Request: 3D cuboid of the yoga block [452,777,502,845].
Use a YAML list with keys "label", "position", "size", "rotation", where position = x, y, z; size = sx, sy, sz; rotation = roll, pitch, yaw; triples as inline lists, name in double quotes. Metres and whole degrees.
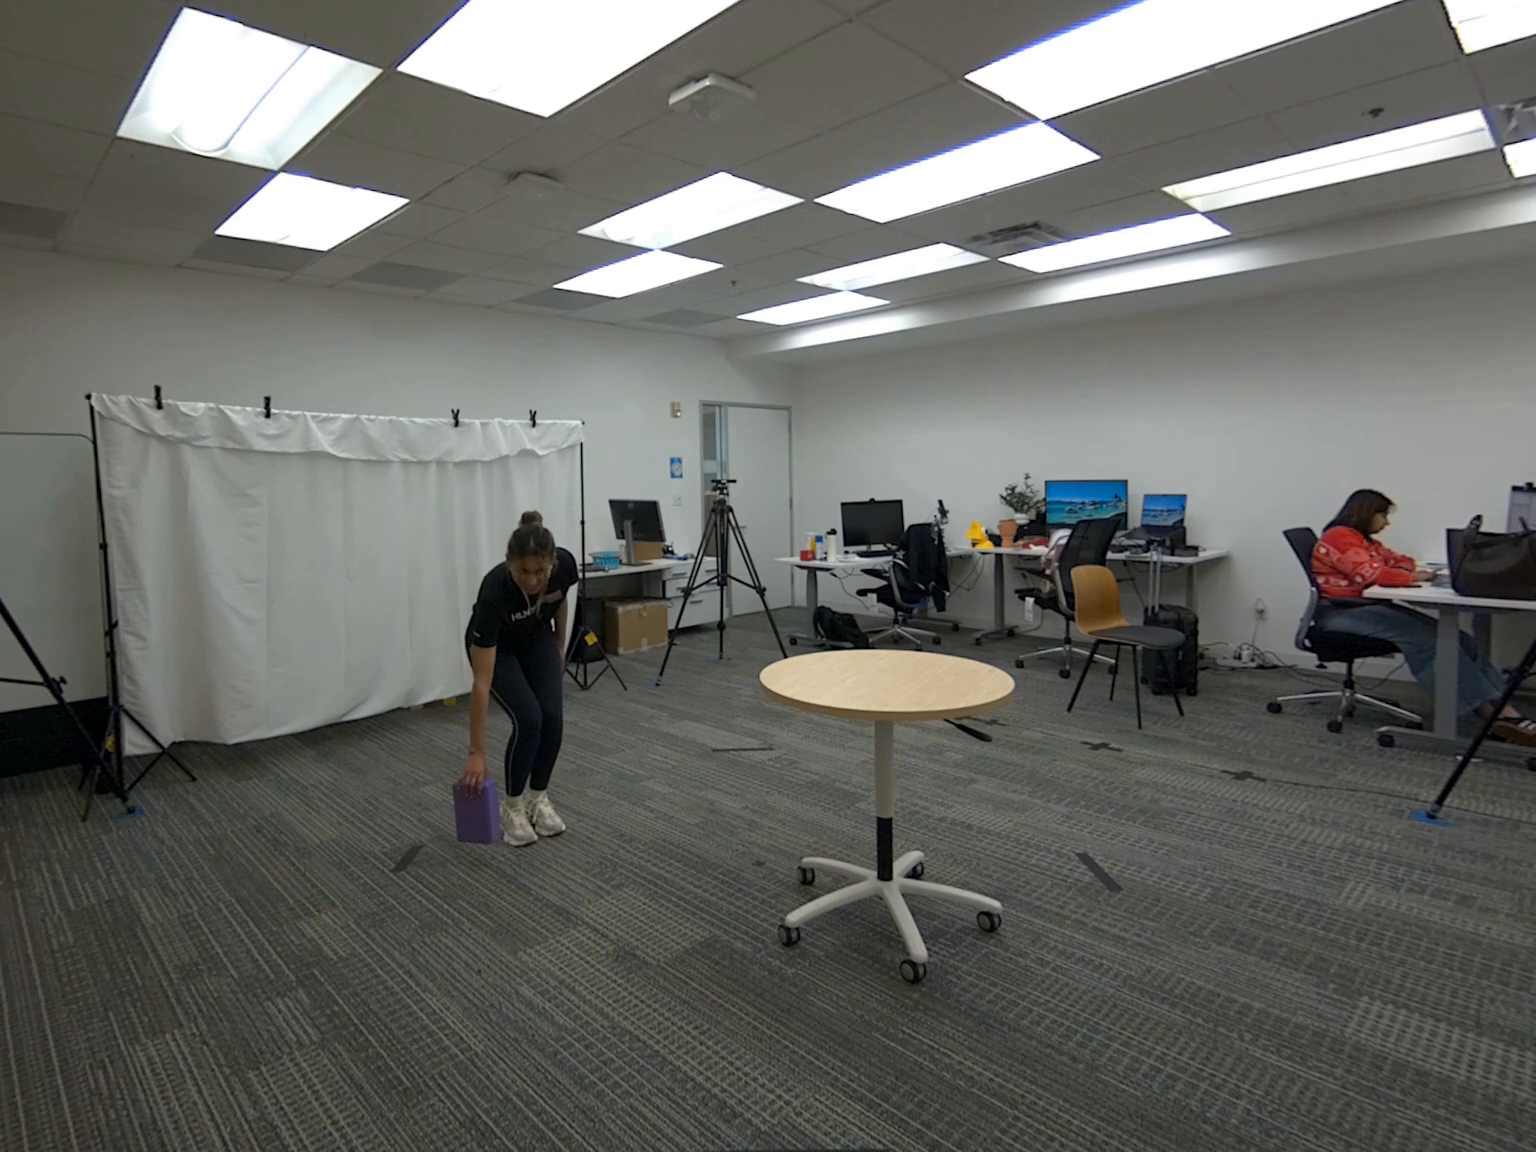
- label: "yoga block"
  position: [-1.081, 0.862, 3.154]
  size: [0.151, 0.228, 0.076]
  rotation: [2, 7, 16]
